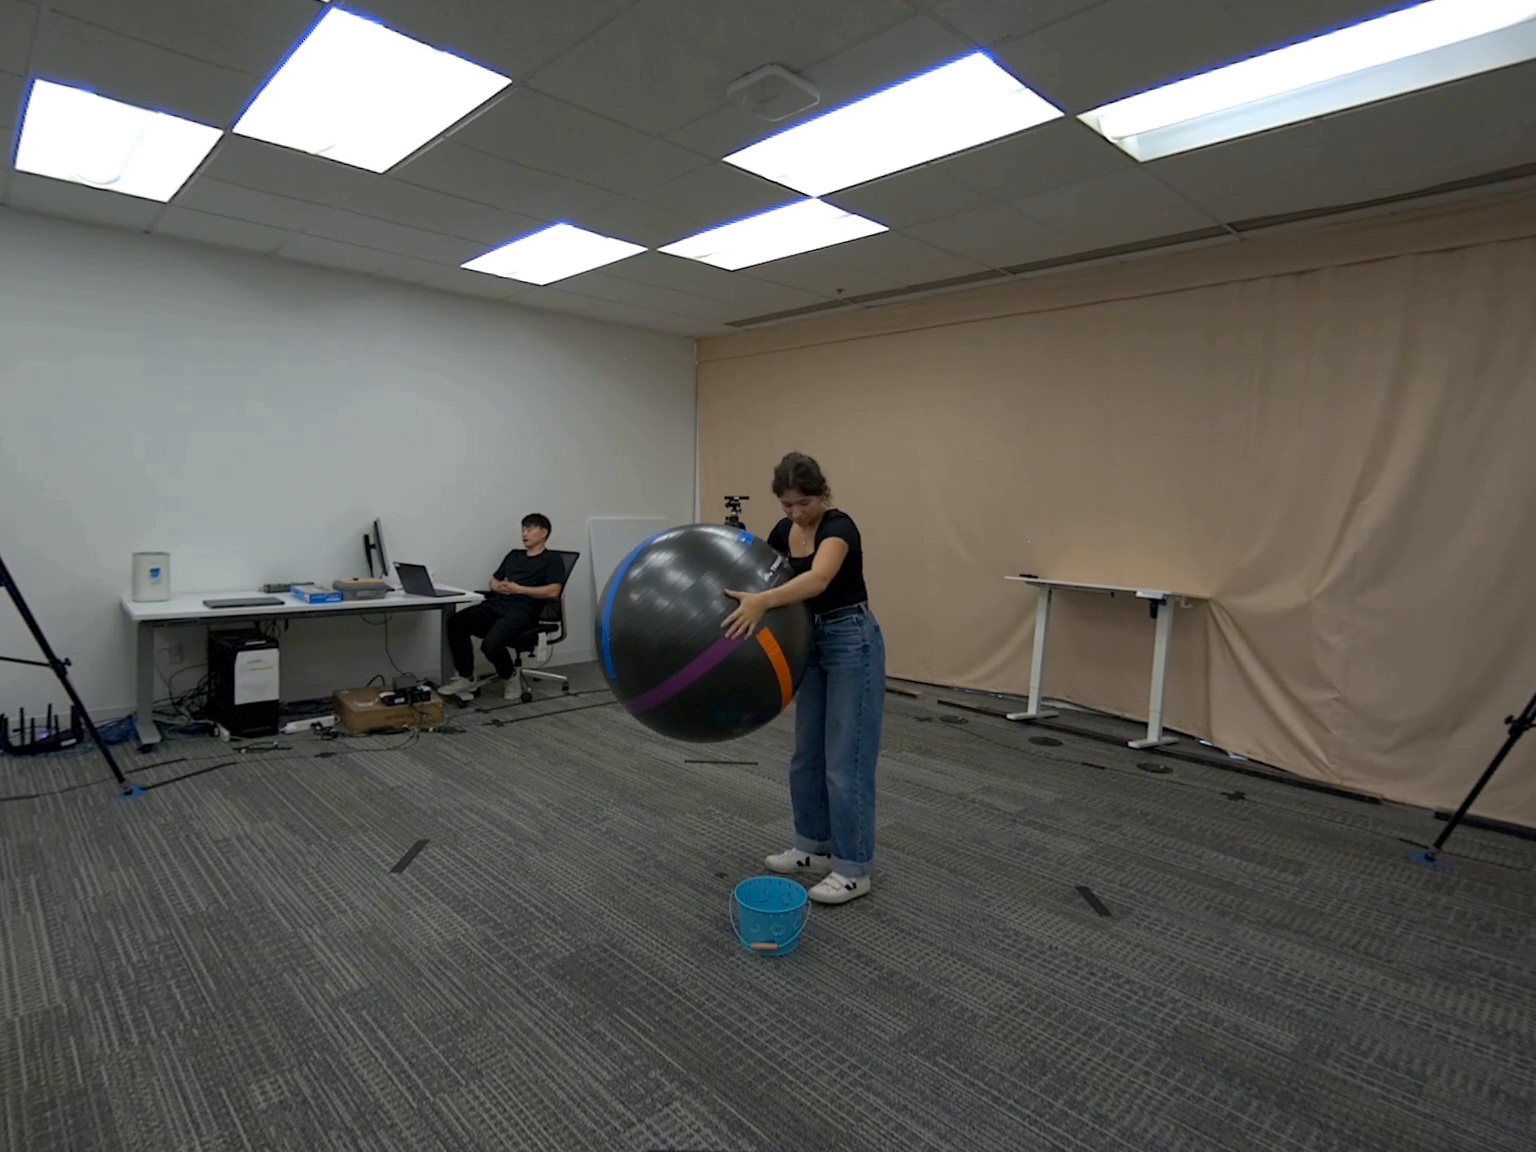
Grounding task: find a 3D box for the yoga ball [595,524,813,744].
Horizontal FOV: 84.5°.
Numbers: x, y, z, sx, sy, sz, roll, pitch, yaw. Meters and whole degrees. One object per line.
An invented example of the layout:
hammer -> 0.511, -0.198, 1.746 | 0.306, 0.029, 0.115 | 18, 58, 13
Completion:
yoga ball -> -0.235, 0.200, 2.924 | 0.757, 0.756, 0.761 | 1, 4, -1
